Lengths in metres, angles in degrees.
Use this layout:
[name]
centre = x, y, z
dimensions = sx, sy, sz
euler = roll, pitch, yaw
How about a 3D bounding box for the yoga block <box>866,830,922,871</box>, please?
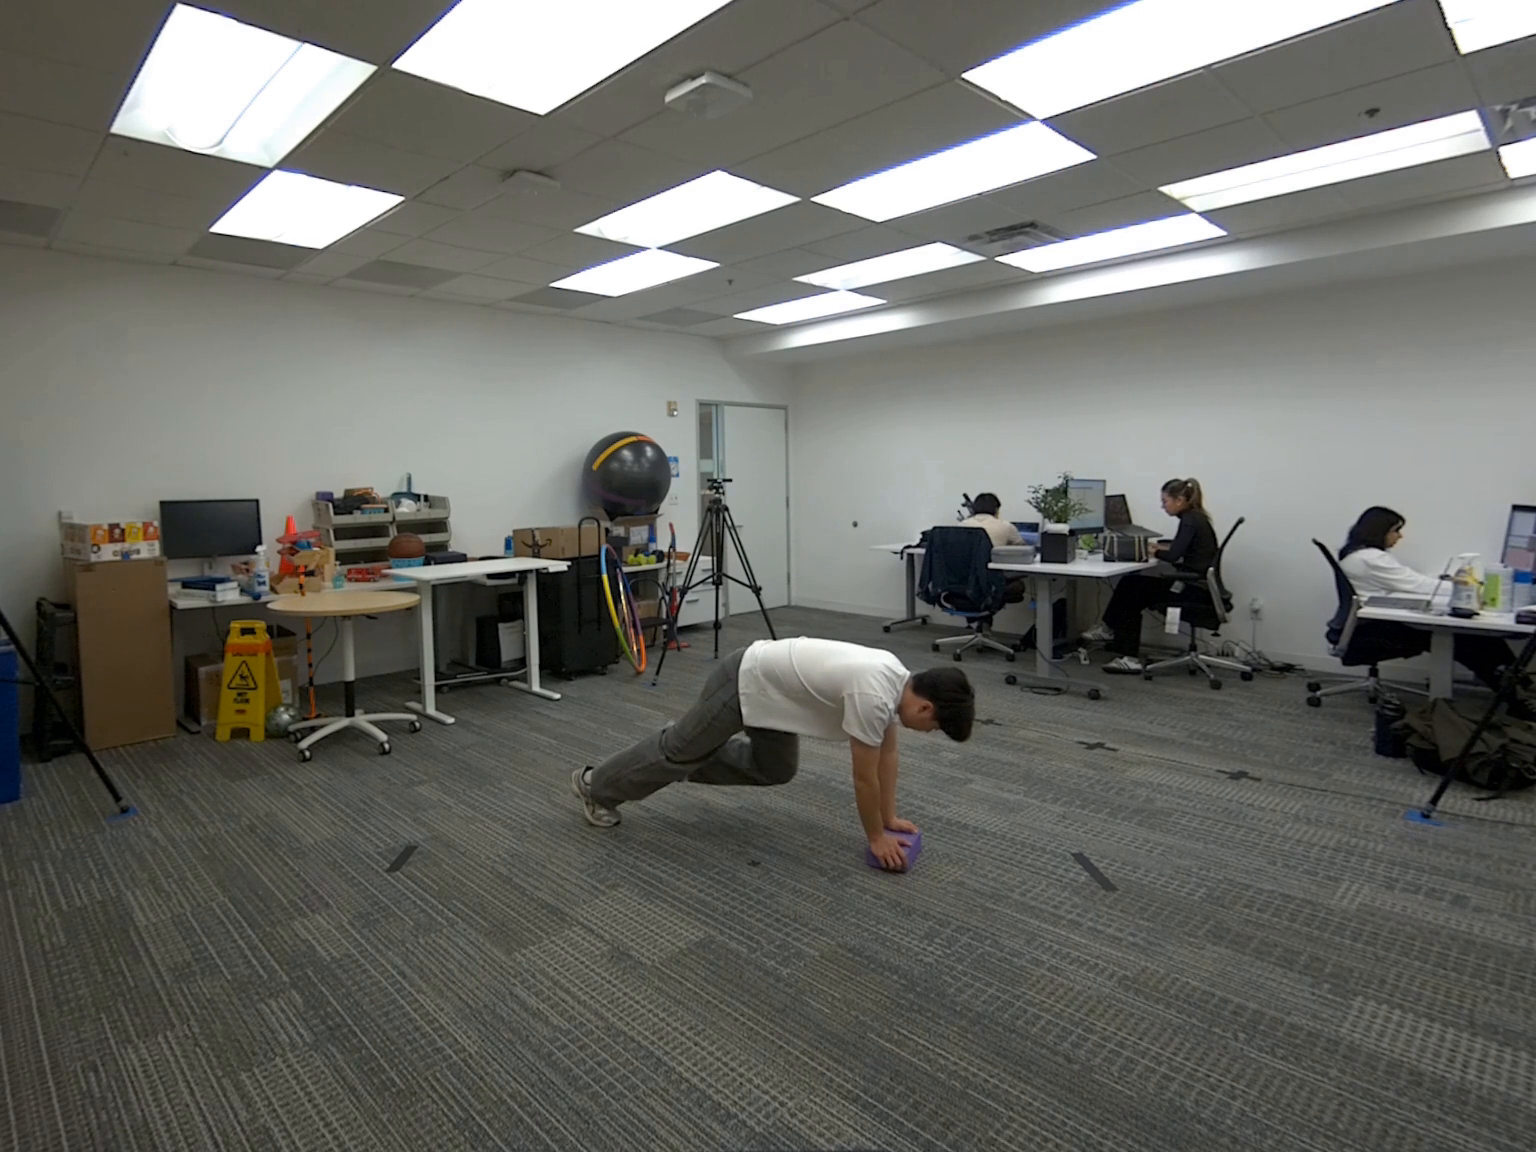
[yoga block]
centre = 0.469, 1.001, 3.136
dimensions = 0.153, 0.076, 0.225
euler = 4, 6, 25
